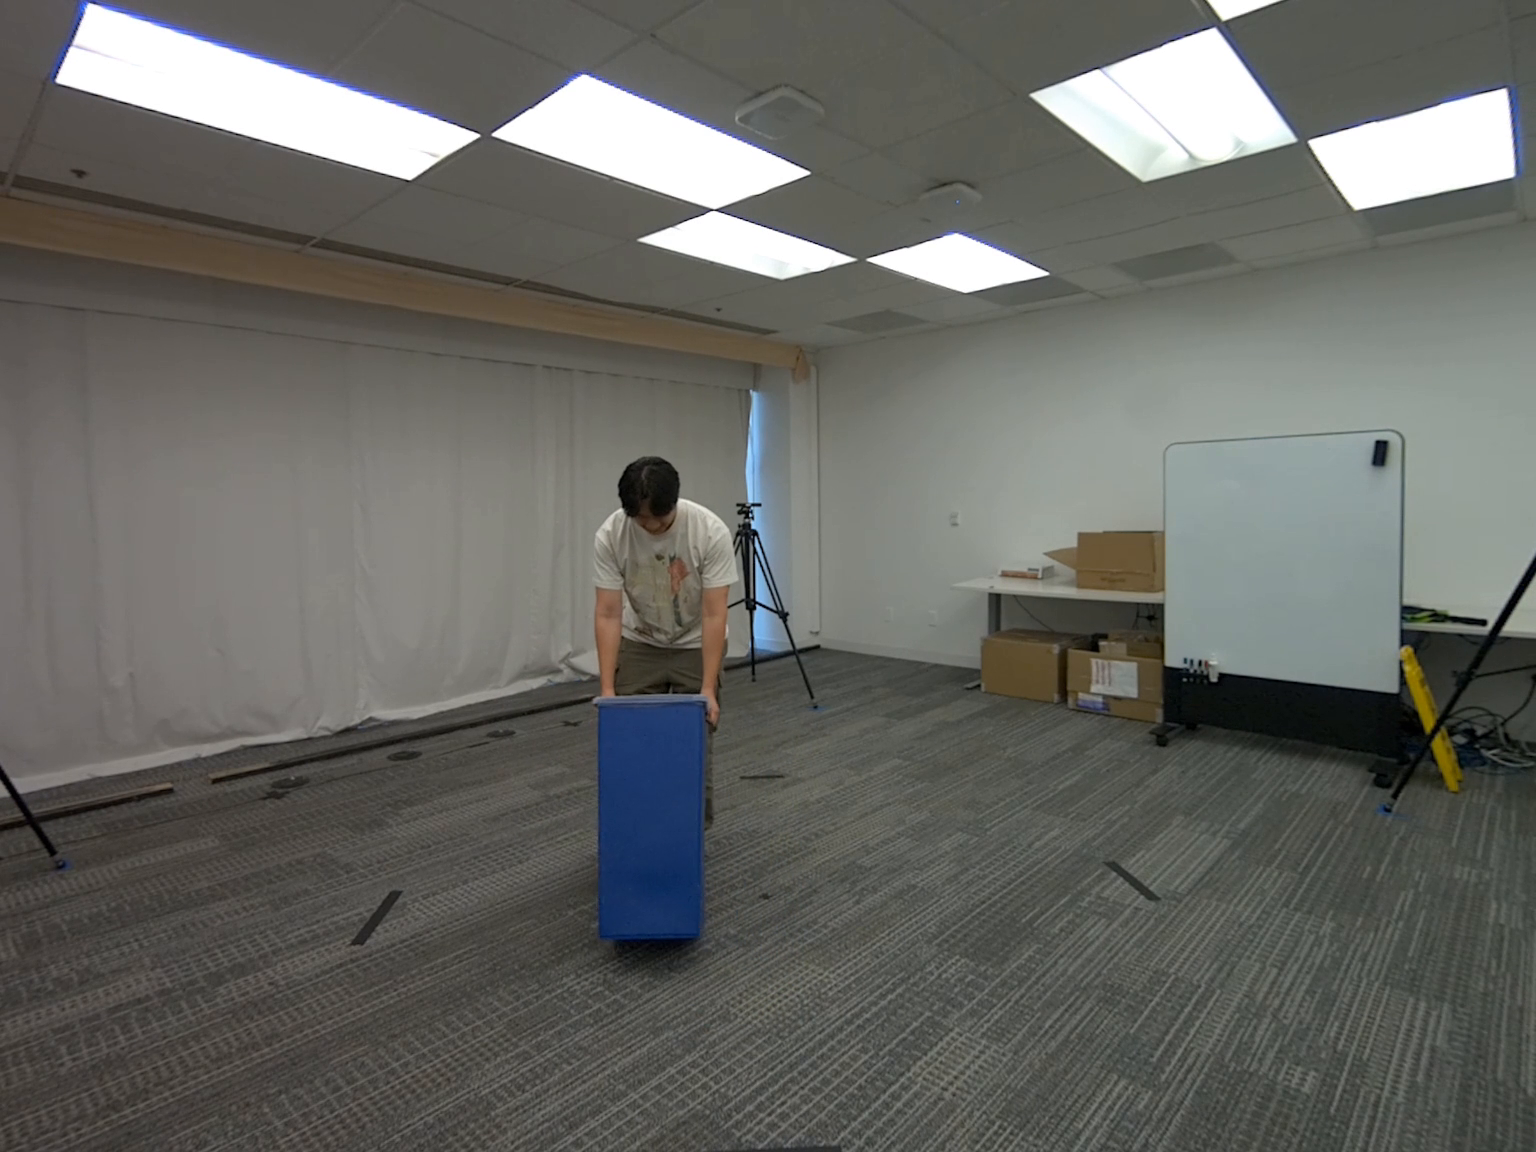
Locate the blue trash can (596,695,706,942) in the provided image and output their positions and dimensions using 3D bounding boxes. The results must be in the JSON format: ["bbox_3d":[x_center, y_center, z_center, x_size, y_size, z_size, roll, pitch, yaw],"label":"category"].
[{"bbox_3d":[-0.369,0.777,2.735,0.378,0.723,0.369,-2,-20,-1],"label":"blue trash can"}]
